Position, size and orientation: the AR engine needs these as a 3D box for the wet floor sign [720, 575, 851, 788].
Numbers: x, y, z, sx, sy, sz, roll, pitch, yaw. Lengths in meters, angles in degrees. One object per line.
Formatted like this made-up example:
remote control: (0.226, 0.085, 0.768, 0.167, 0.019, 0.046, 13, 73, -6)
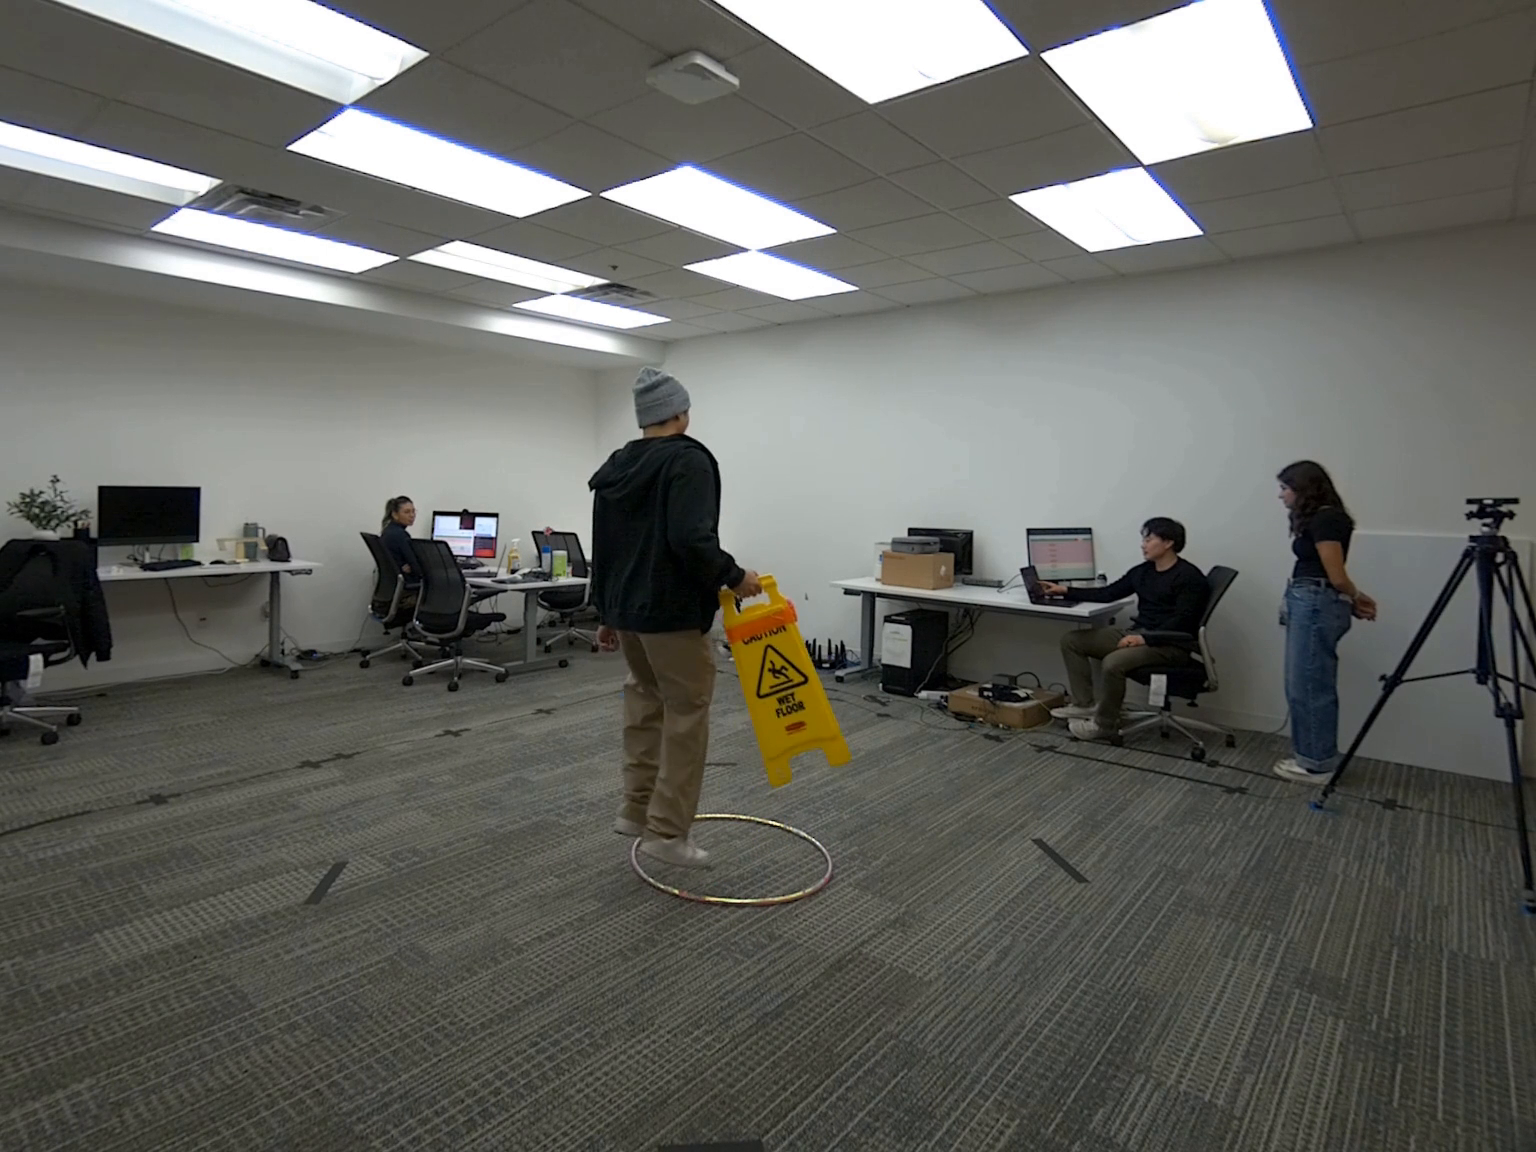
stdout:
wet floor sign: (0.020, 0.362, 2.861, 0.282, 0.642, 0.292, -18, 5, -1)
